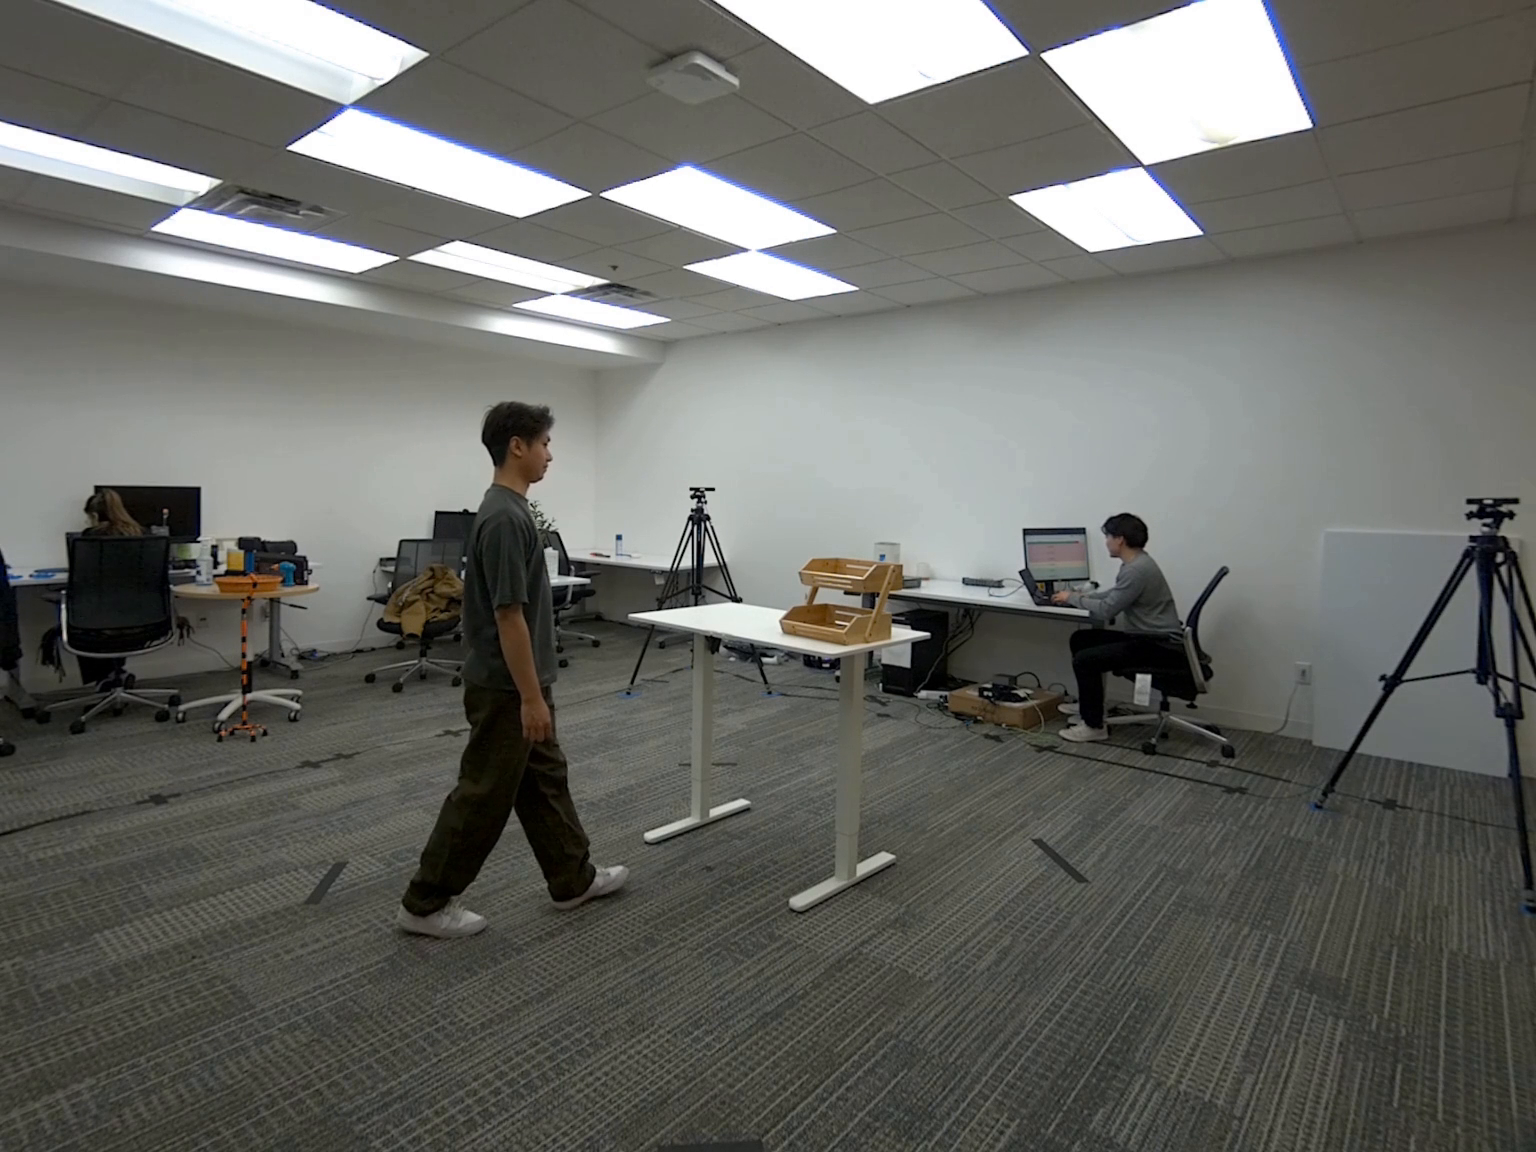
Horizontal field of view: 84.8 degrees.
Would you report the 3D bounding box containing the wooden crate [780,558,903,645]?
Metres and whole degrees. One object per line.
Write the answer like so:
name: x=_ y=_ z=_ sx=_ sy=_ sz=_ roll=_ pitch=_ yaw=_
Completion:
wooden crate: x=0.250 y=0.077 z=2.992 sx=0.293 sy=0.272 sz=0.336 roll=-3 pitch=6 yaw=-43
